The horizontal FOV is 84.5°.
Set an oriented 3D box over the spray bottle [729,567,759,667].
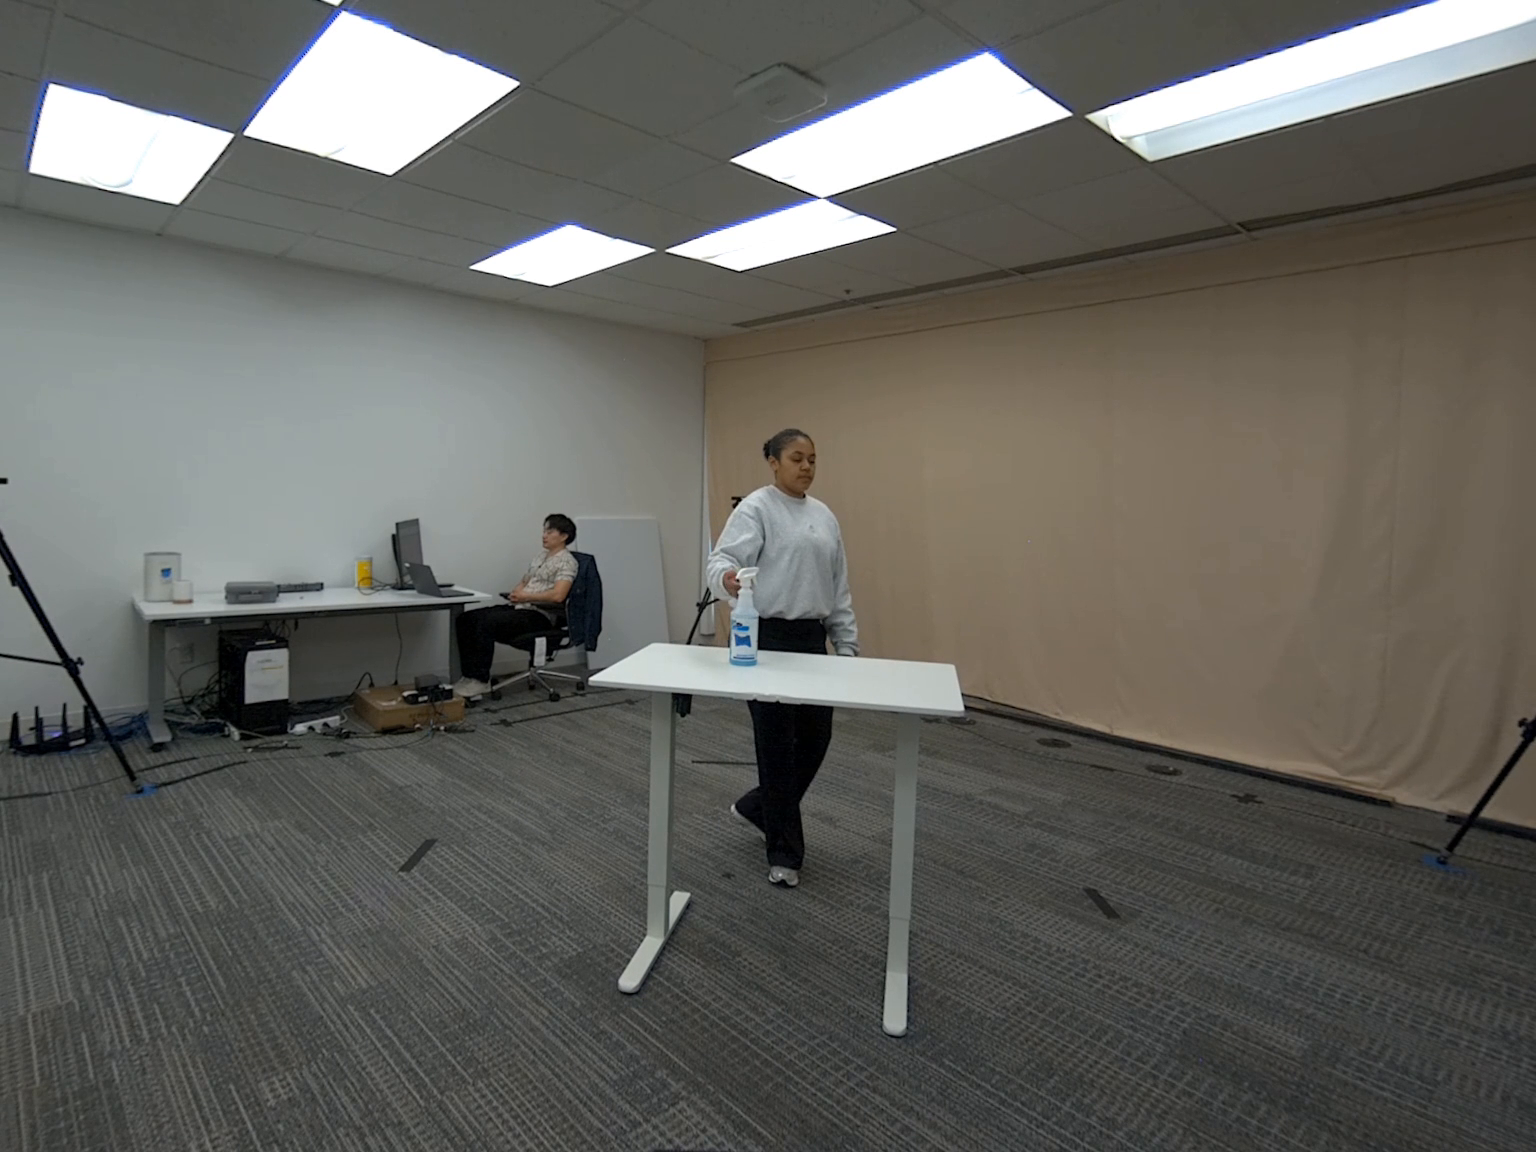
[{"bbox_3d":[-0.083,0.125,2.590,0.088,0.297,0.088,2,2,-22],"label":"spray bottle"}]
